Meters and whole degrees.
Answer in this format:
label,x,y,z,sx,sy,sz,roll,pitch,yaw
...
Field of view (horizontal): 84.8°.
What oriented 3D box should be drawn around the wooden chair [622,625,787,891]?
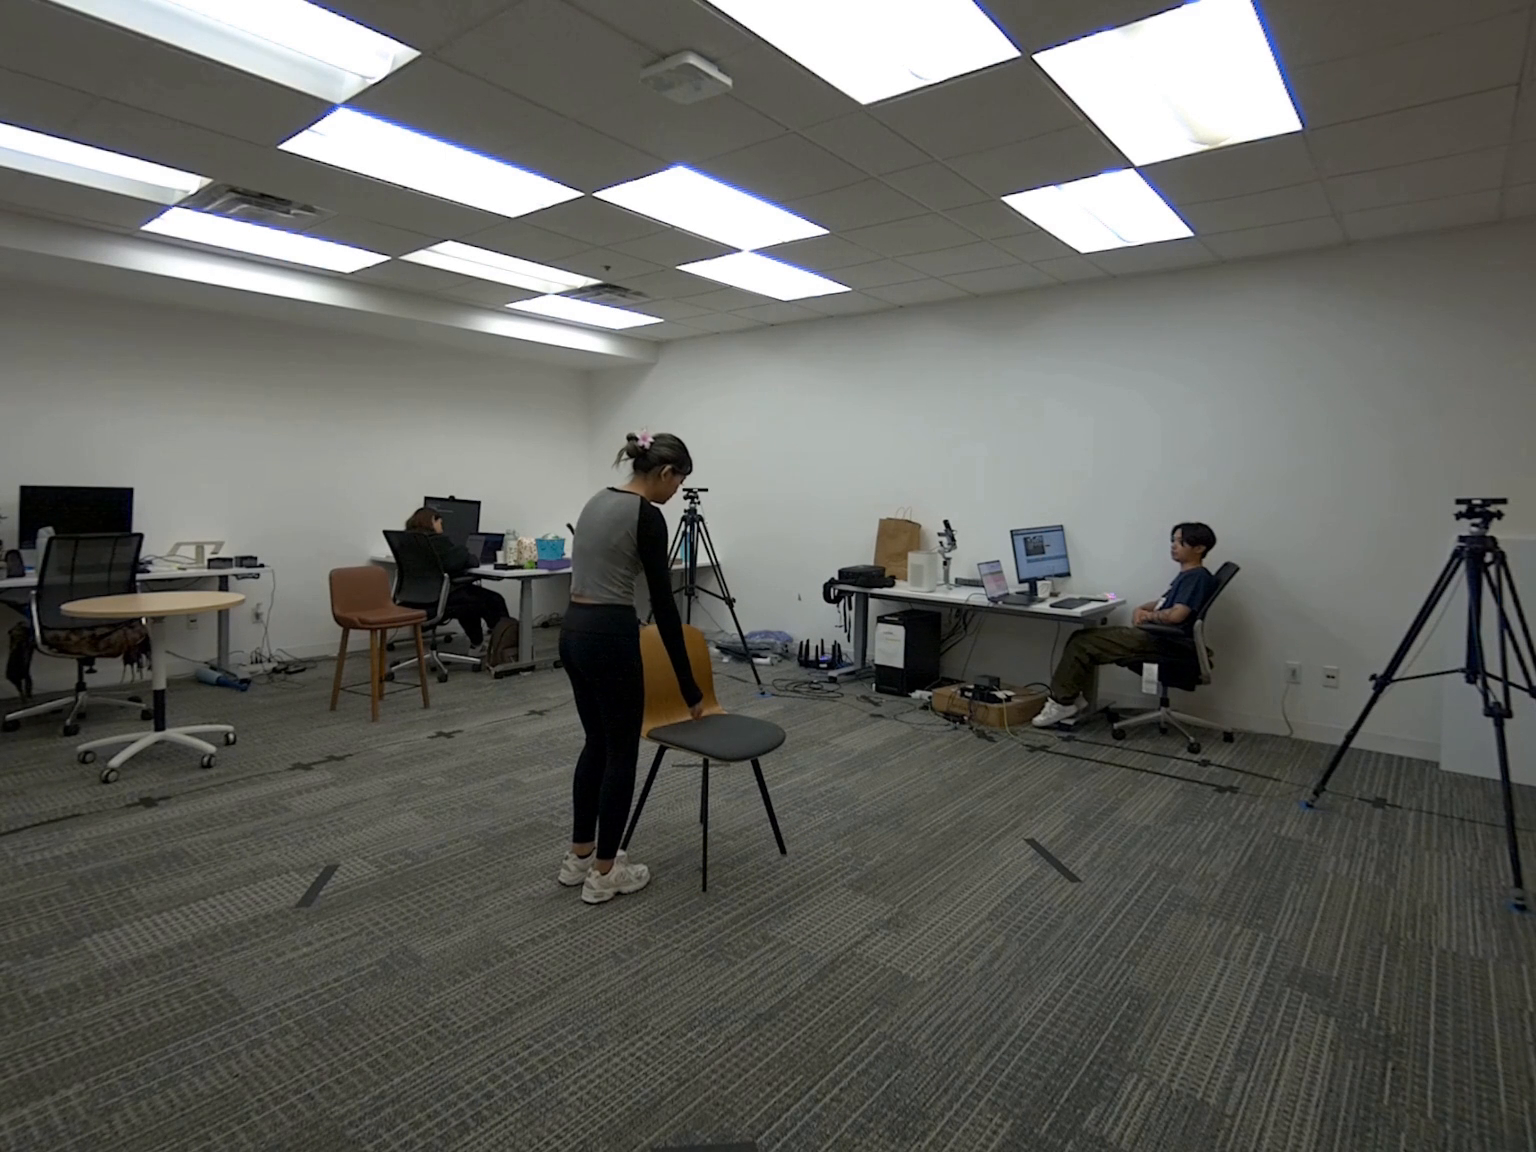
label,x,y,z,sx,sy,sz,roll,pitch,yaw
wooden chair,-0.234,0.629,3.209,0.539,0.877,0.464,-2,1,41
